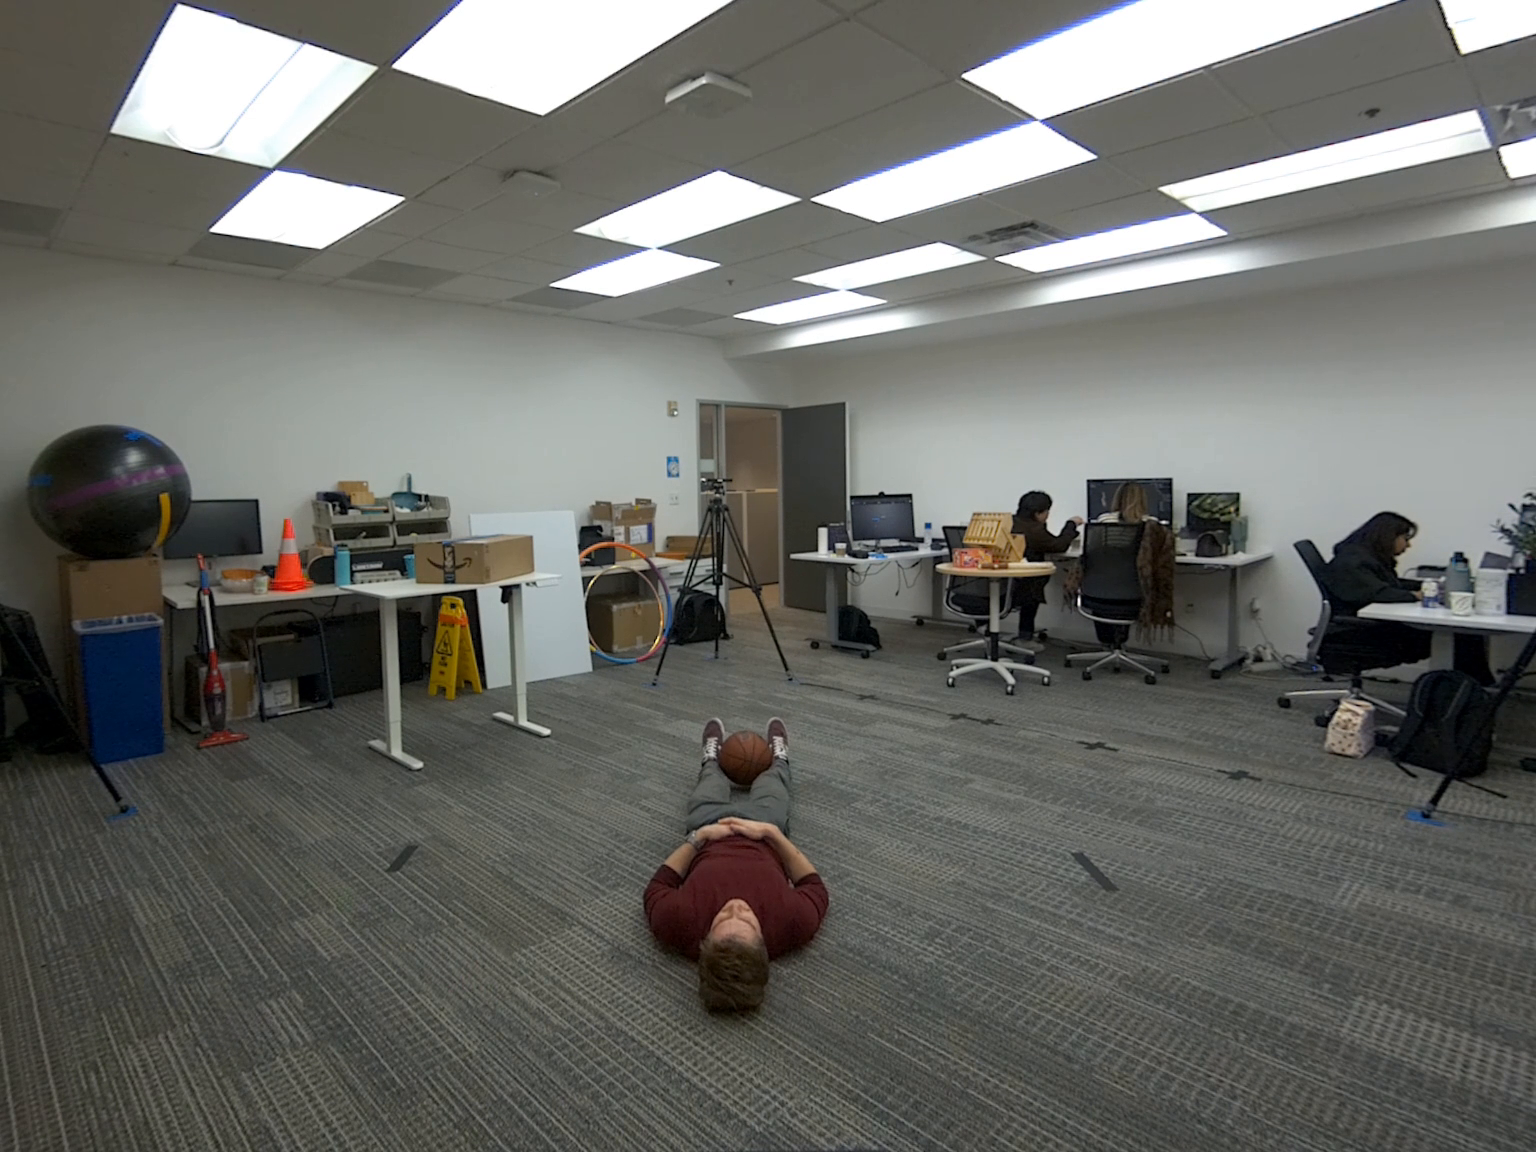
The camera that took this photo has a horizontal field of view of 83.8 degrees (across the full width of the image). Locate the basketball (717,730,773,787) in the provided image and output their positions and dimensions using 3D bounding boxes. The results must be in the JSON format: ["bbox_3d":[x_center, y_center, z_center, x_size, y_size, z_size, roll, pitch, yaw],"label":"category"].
[{"bbox_3d":[-0.098,0.804,3.856,0.236,0.236,0.236,0,1,-2],"label":"basketball"}]
